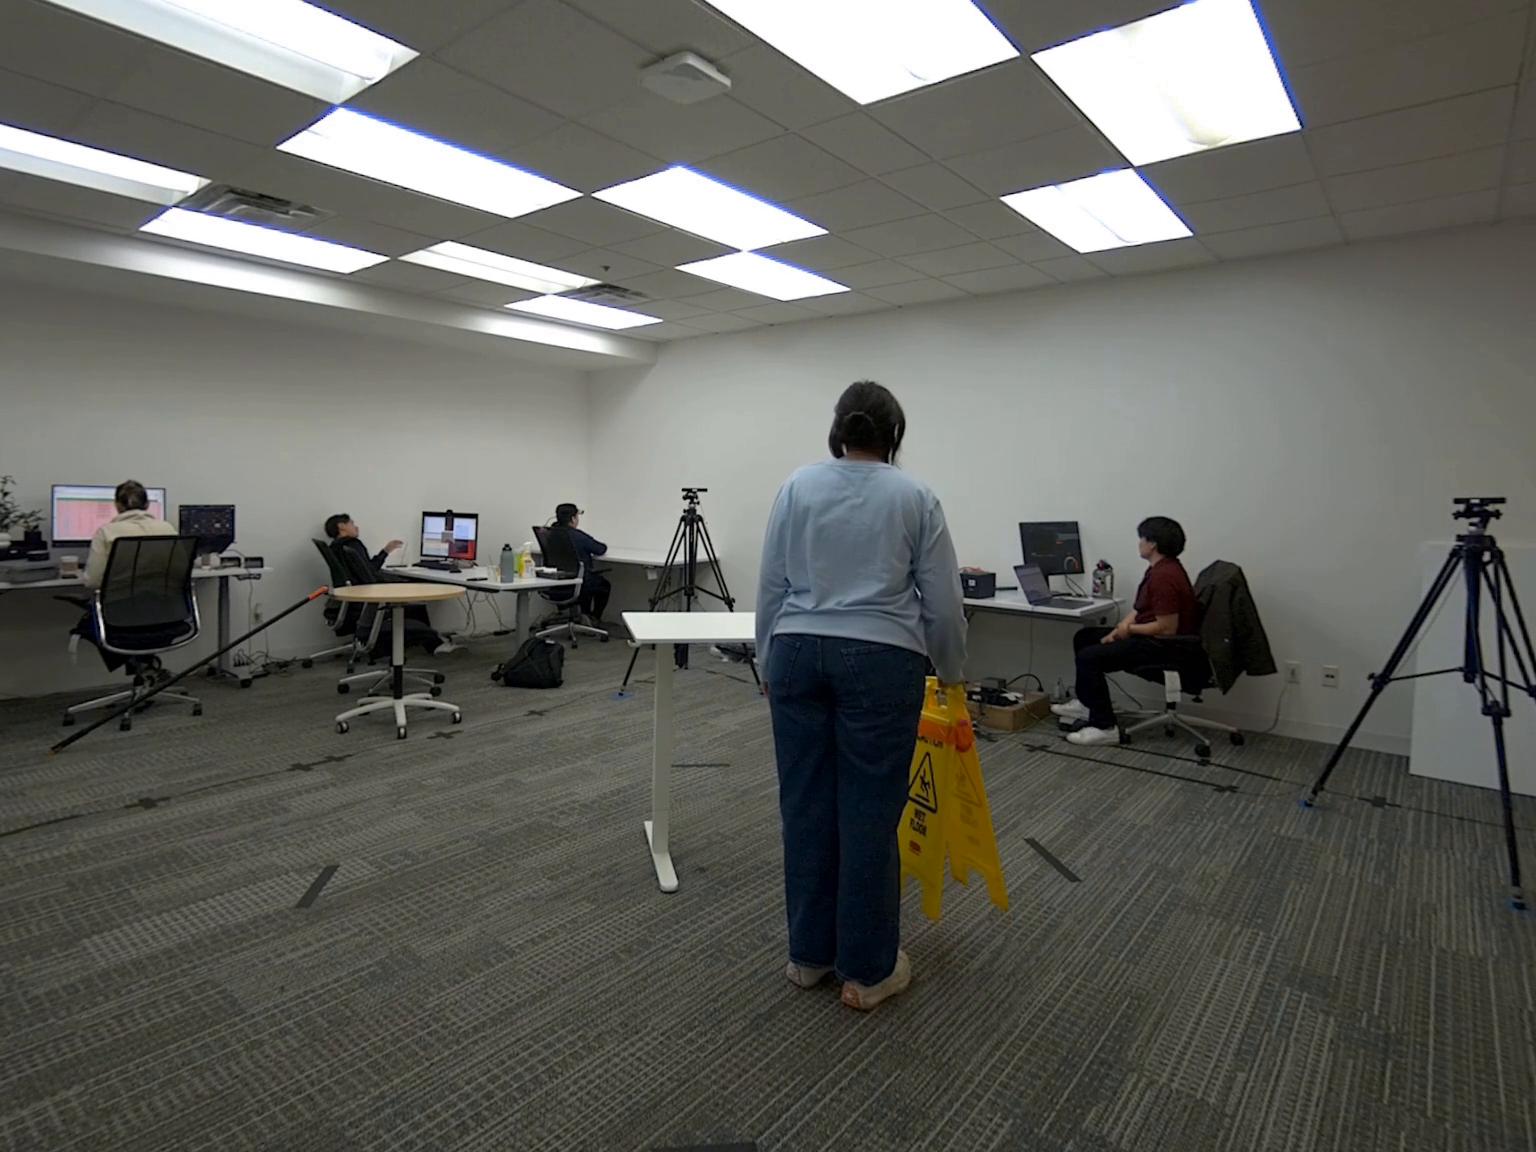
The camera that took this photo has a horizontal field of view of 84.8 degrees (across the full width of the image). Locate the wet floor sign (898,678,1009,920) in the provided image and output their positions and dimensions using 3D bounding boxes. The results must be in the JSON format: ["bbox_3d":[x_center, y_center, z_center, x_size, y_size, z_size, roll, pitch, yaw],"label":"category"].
[{"bbox_3d":[0.532,0.643,2.557,0.285,0.647,0.287,0,-1,-18],"label":"wet floor sign"}]
